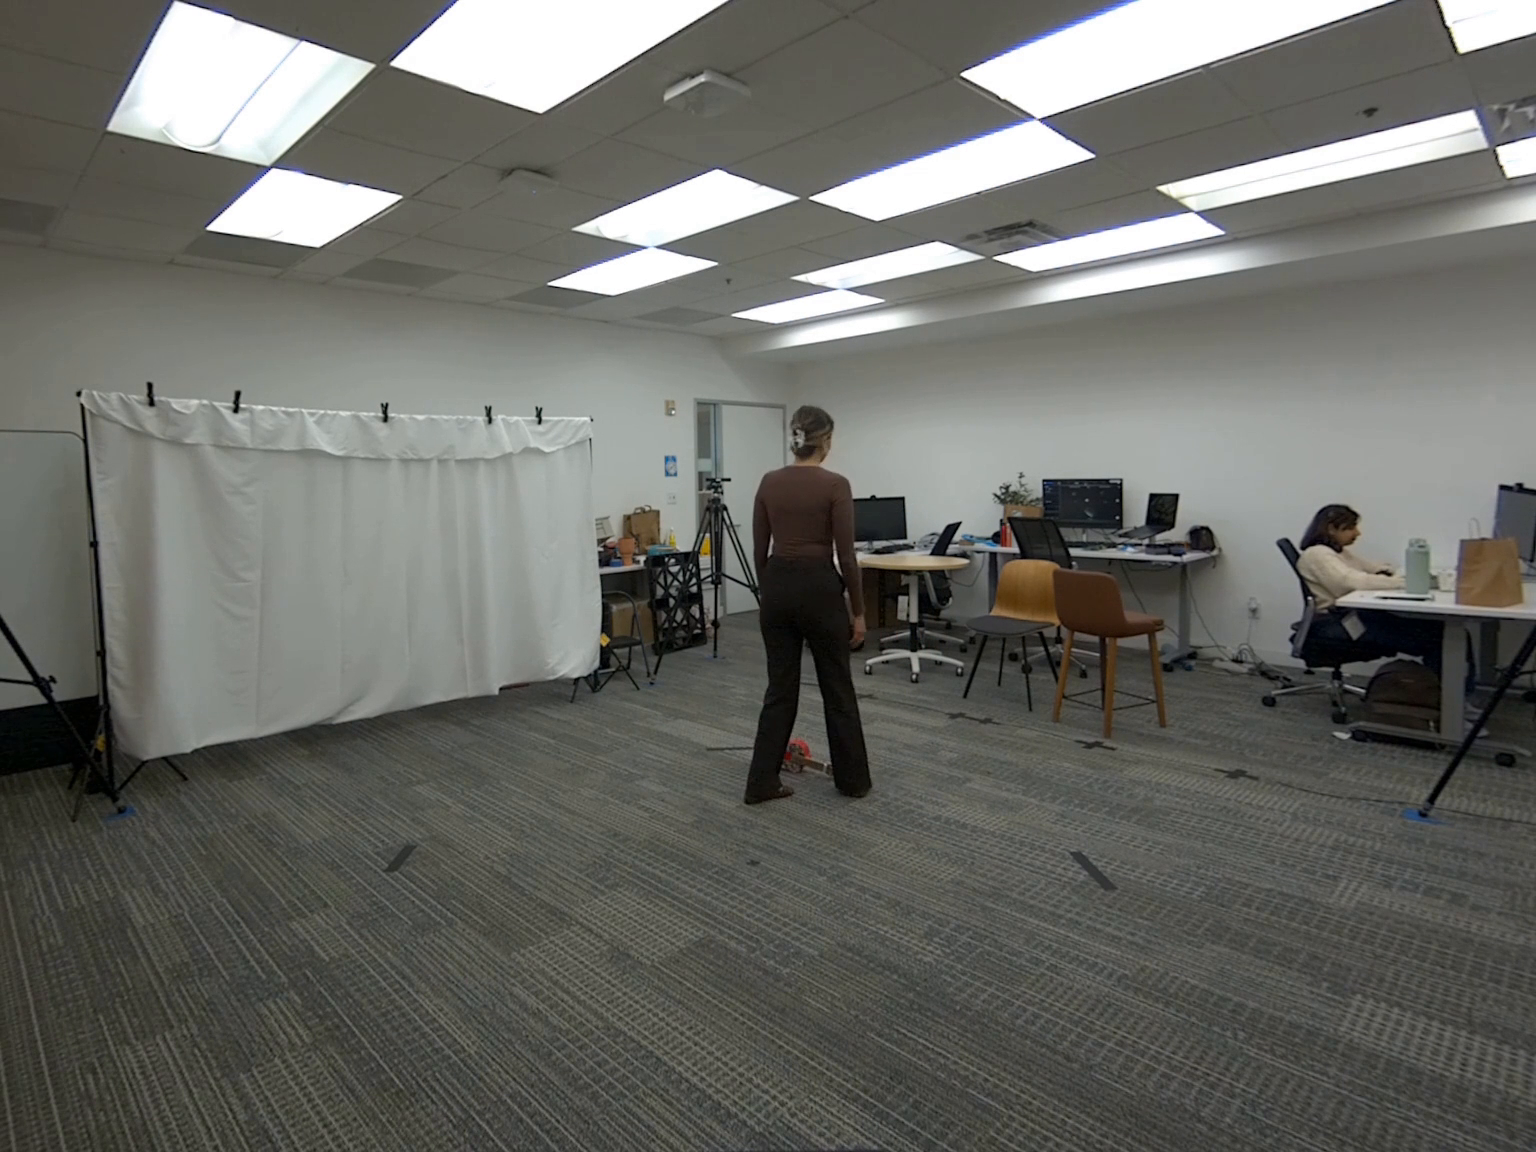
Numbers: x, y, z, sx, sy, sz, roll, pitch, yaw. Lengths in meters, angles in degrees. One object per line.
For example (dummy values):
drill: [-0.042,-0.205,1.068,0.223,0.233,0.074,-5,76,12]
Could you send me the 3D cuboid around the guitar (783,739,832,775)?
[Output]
guitar: [0.161,0.895,4.056,0.512,0.191,0.069,22,14,24]
